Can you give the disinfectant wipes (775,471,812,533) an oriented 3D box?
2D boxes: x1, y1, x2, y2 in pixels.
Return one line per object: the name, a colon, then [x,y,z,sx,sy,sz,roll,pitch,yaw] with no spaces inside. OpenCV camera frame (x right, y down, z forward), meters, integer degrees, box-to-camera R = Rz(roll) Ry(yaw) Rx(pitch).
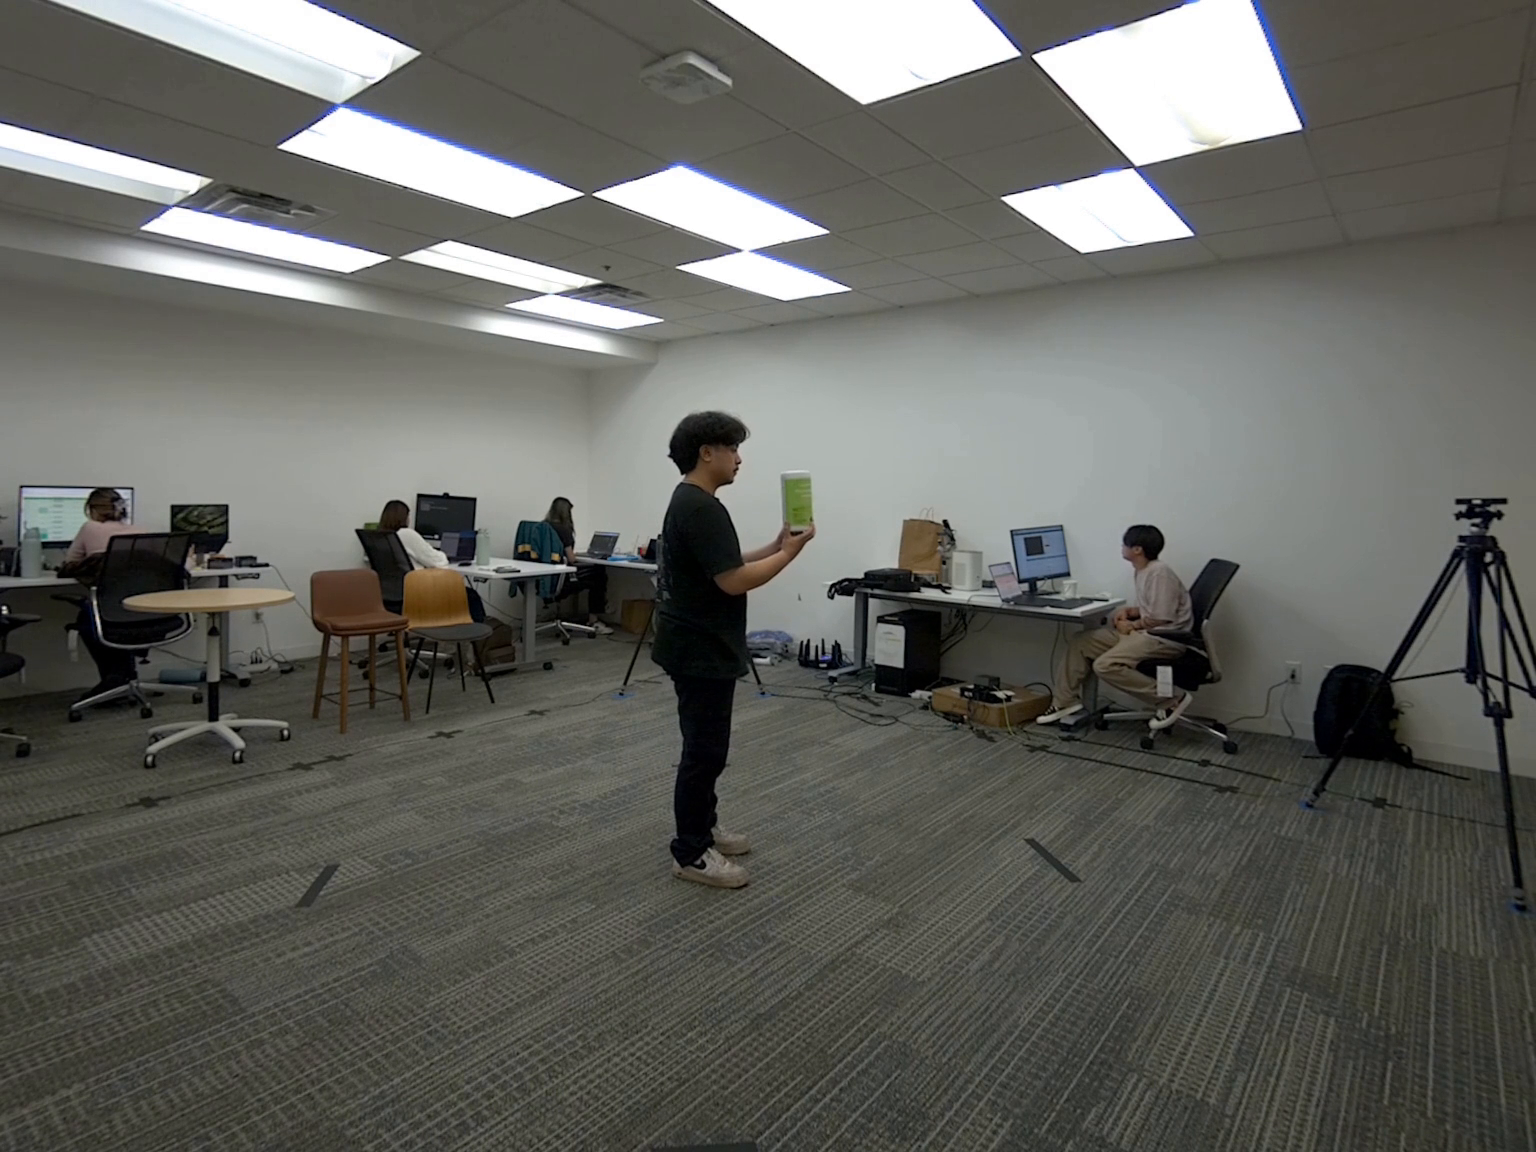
disinfectant wipes: [0.089,-0.268,3.046,0.118,0.217,0.118,-1,1,-2]
